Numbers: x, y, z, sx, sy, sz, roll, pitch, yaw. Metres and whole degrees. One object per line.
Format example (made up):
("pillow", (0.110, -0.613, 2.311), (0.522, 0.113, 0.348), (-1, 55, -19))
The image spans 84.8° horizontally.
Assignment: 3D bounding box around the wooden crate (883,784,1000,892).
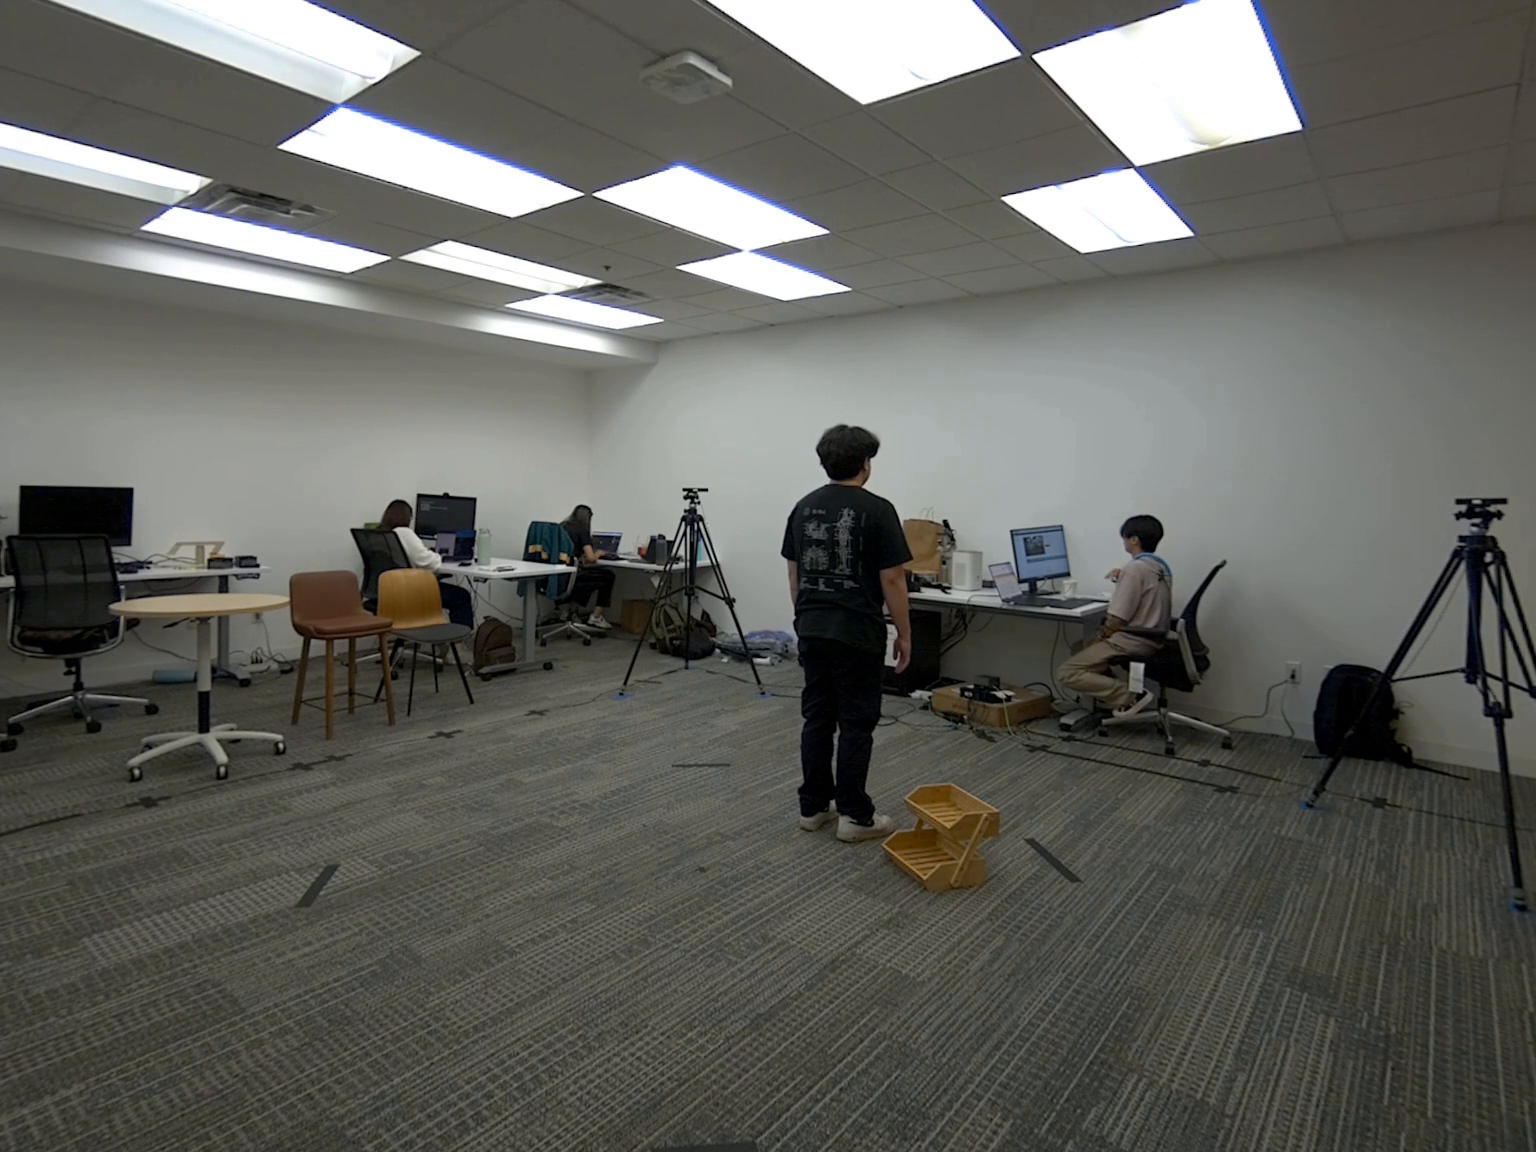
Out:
("wooden crate", (0.624, 0.947, 3.154), (0.296, 0.272, 0.332), (0, 5, -22))
